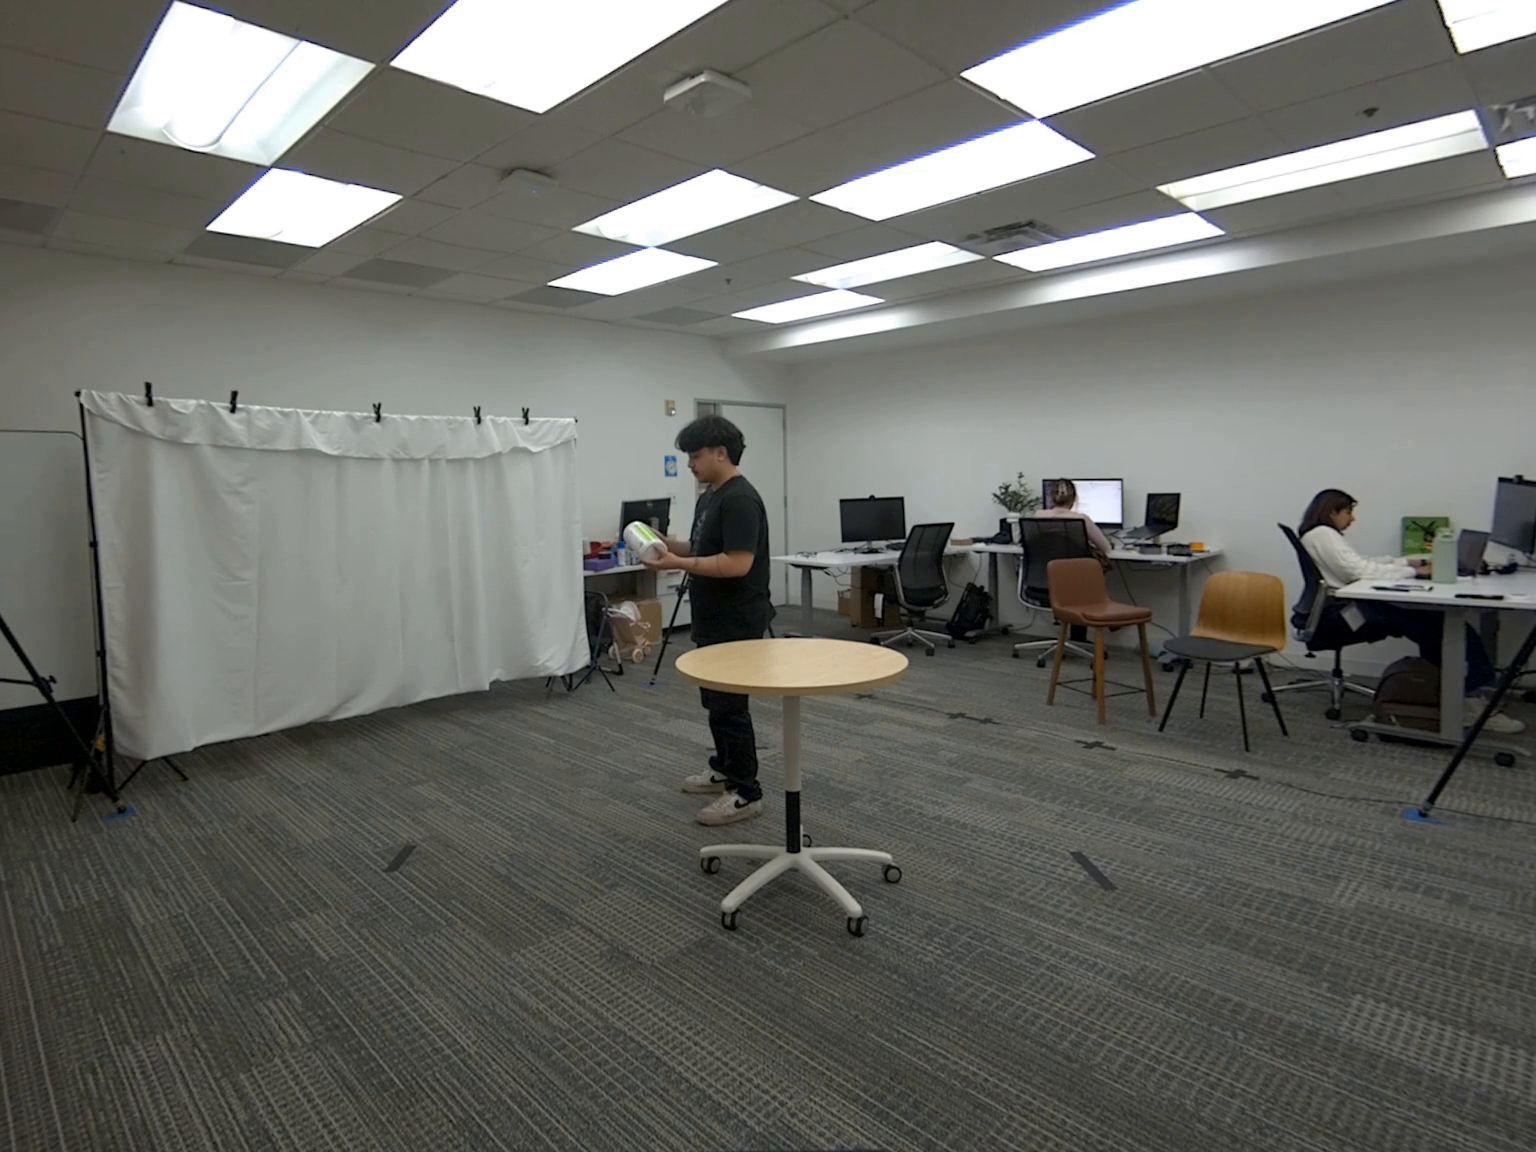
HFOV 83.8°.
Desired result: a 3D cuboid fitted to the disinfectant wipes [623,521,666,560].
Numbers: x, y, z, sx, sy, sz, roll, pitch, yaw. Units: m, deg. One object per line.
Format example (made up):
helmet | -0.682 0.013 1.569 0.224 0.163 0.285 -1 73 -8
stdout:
disinfectant wipes | -0.504 -0.134 3.484 0.115 0.116 0.226 -4 27 -33
